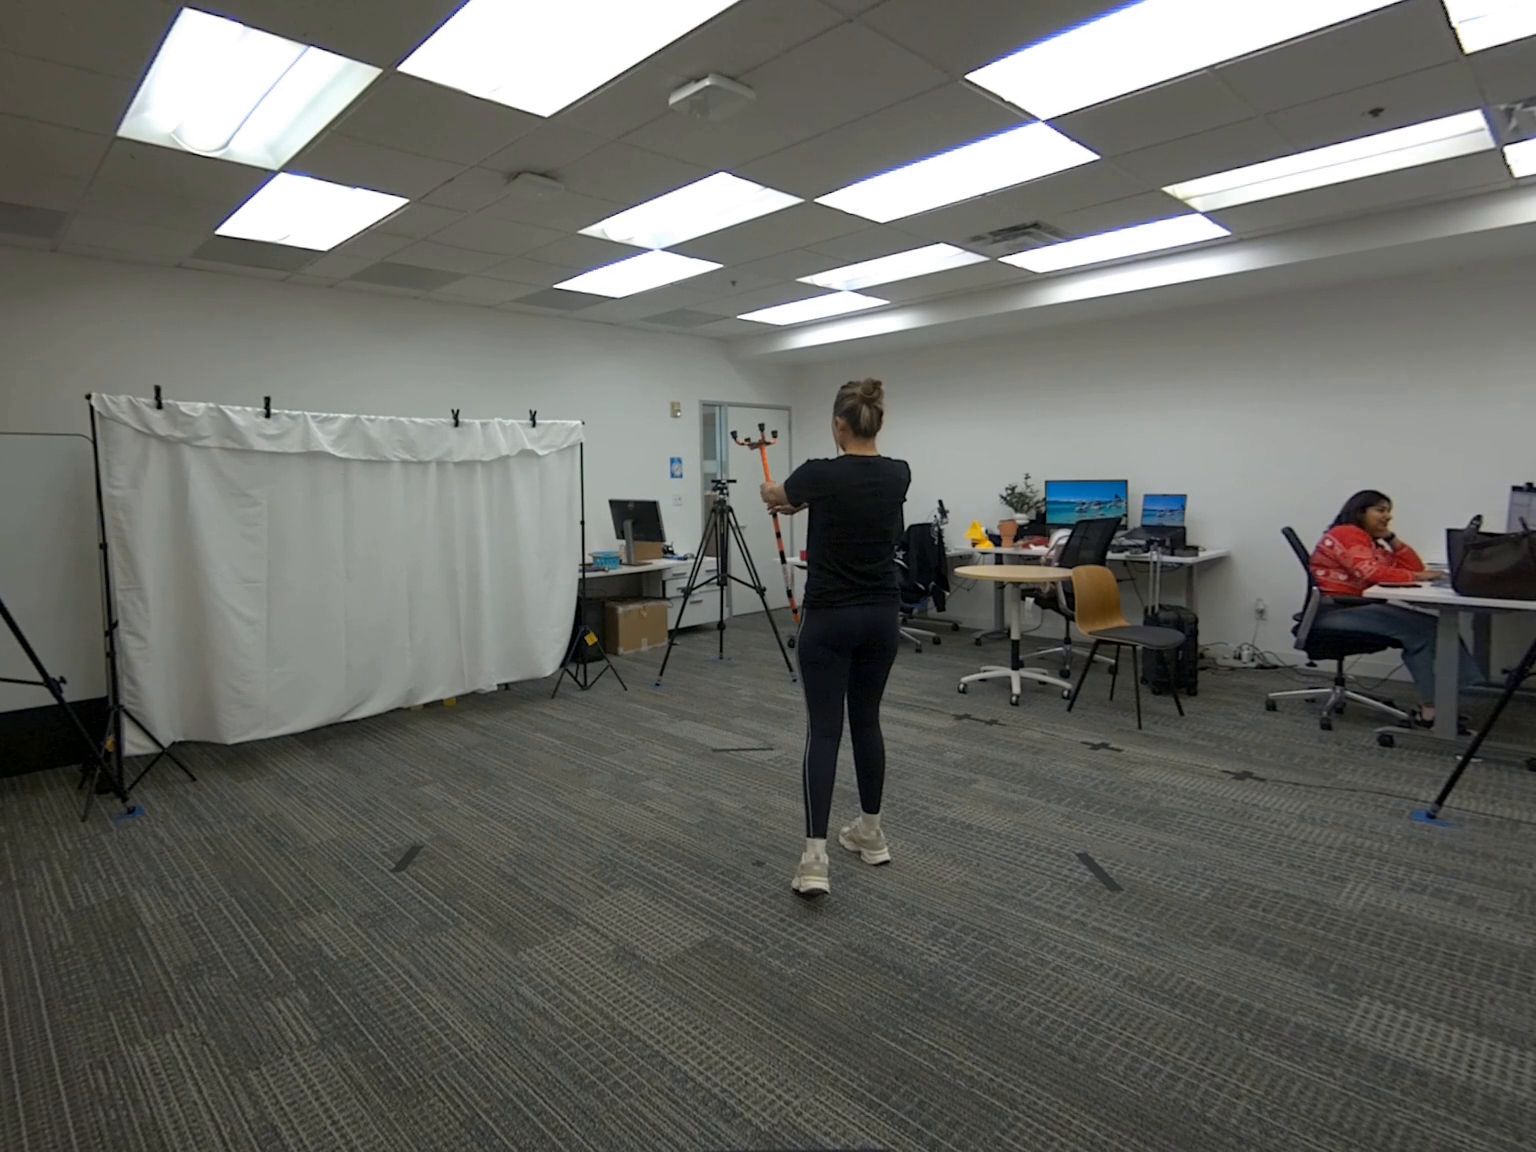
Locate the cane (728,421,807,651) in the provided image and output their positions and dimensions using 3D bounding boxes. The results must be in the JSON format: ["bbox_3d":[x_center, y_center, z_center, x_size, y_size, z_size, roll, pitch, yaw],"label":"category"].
[{"bbox_3d":[0.026,-0.165,3.527,0.153,0.916,0.202,-14,-9,15],"label":"cane"}]
